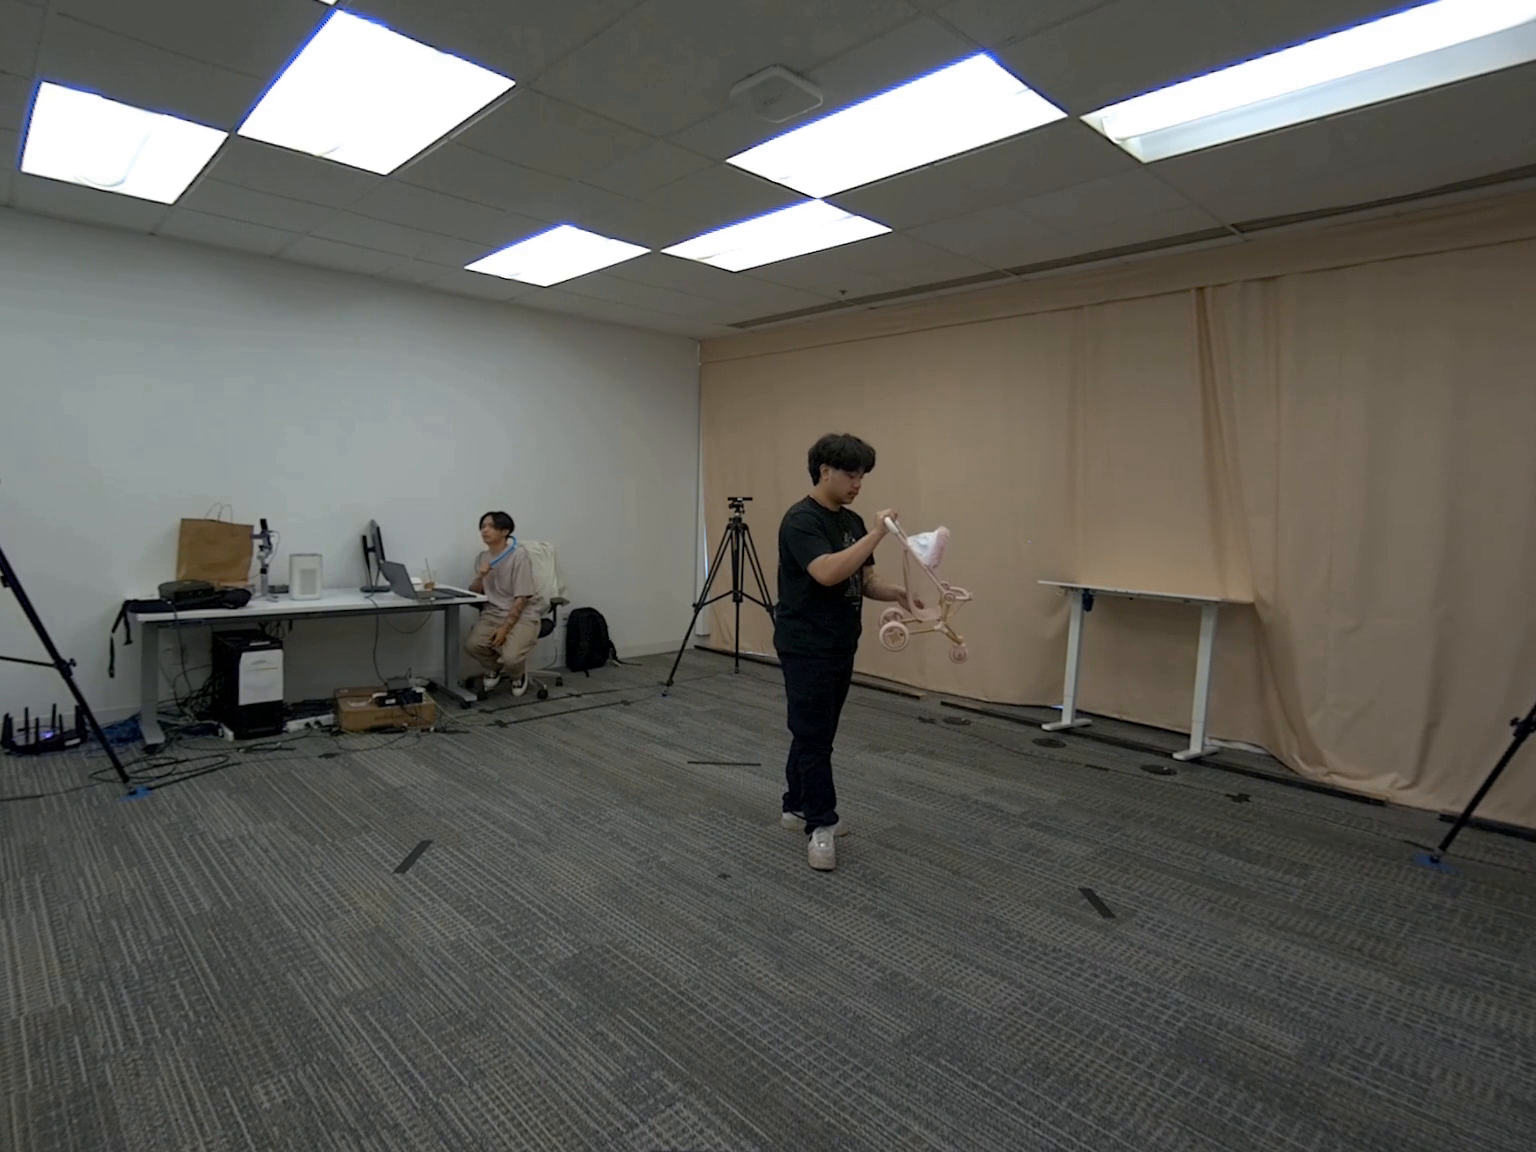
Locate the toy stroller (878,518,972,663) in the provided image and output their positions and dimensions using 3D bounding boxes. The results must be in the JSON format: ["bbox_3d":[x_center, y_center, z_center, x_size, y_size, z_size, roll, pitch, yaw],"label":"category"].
[{"bbox_3d":[0.584,0.051,3.112,0.345,0.532,0.280,5,8,11],"label":"toy stroller"}]
